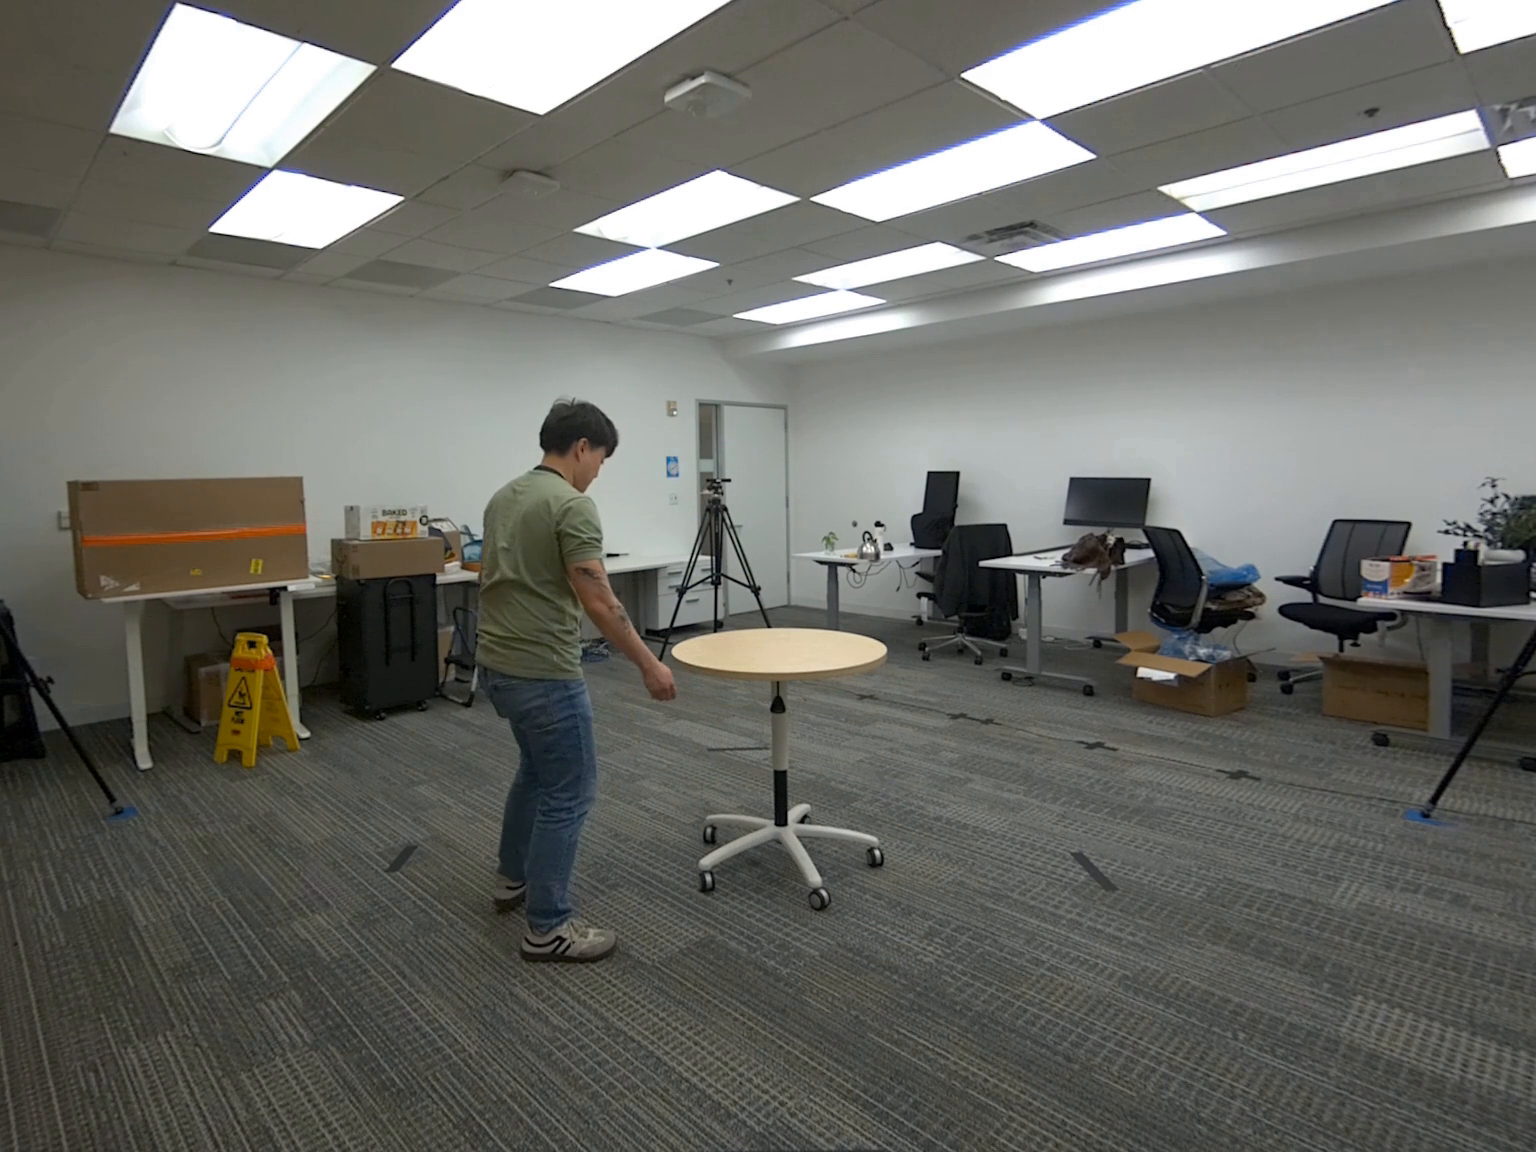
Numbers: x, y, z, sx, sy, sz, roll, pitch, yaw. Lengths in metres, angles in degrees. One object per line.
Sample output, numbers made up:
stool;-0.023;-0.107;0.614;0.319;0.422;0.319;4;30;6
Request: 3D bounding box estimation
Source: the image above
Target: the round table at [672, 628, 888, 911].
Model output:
round table;0.046;0.653;3.090;0.763;0.791;0.768;-1;5;-2
